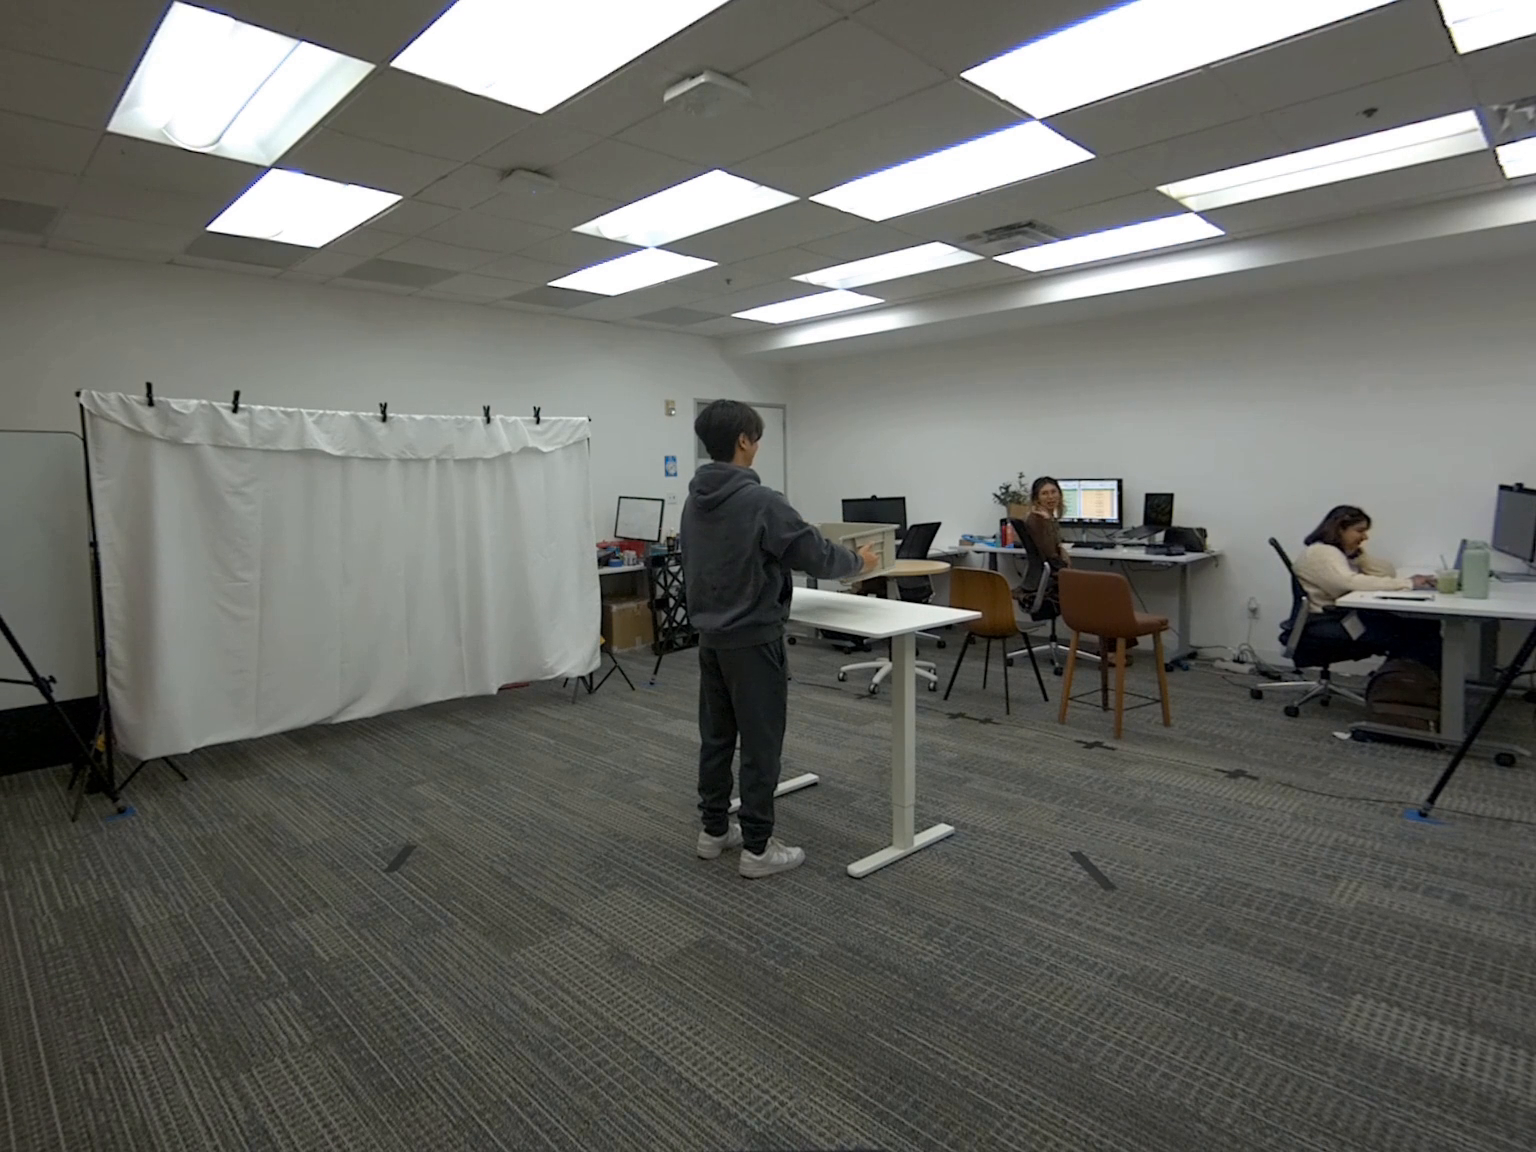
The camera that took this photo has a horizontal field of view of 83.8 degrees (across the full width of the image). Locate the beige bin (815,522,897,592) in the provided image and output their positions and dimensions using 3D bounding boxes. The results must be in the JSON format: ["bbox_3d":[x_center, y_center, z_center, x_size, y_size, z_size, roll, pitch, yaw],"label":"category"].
[{"bbox_3d":[0.243,-0.093,3.395,0.368,0.188,0.435,-11,11,-41],"label":"beige bin"}]
